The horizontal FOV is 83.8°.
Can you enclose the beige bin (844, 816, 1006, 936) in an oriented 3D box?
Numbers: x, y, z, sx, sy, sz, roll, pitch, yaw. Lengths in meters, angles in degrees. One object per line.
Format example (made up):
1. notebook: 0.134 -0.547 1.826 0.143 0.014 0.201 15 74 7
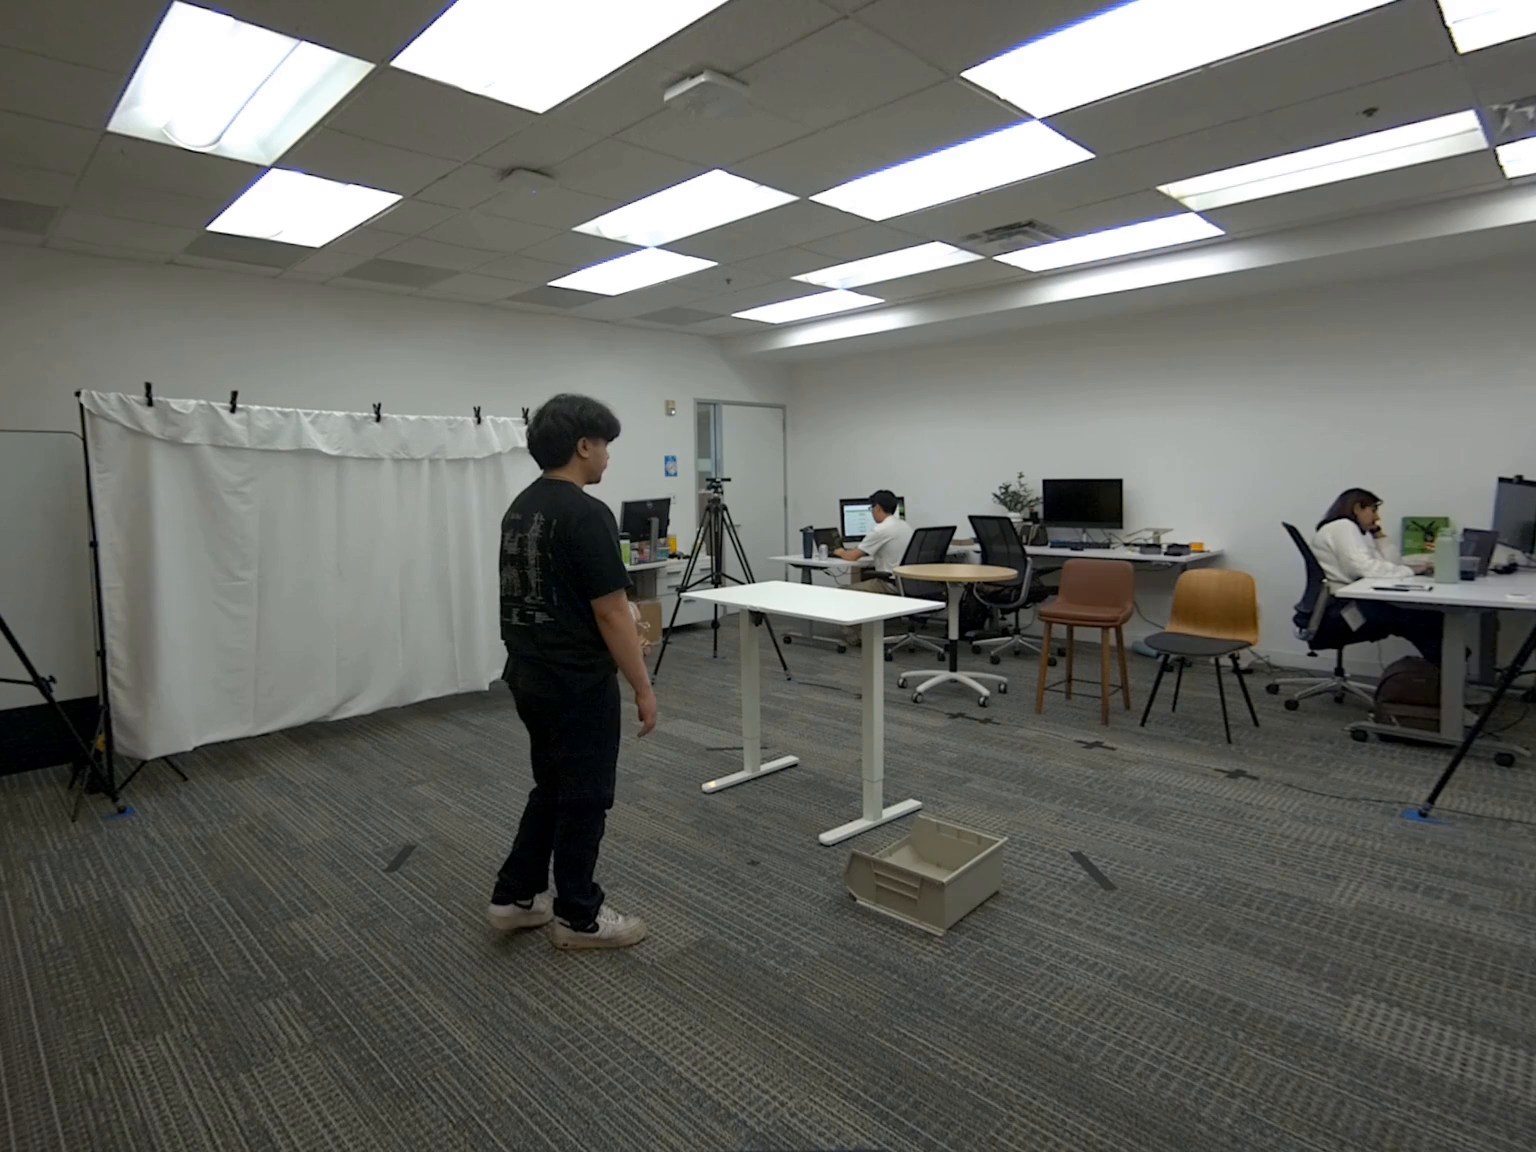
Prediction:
1. beige bin: 0.529 0.975 2.840 0.389 0.188 0.411 5 8 42
